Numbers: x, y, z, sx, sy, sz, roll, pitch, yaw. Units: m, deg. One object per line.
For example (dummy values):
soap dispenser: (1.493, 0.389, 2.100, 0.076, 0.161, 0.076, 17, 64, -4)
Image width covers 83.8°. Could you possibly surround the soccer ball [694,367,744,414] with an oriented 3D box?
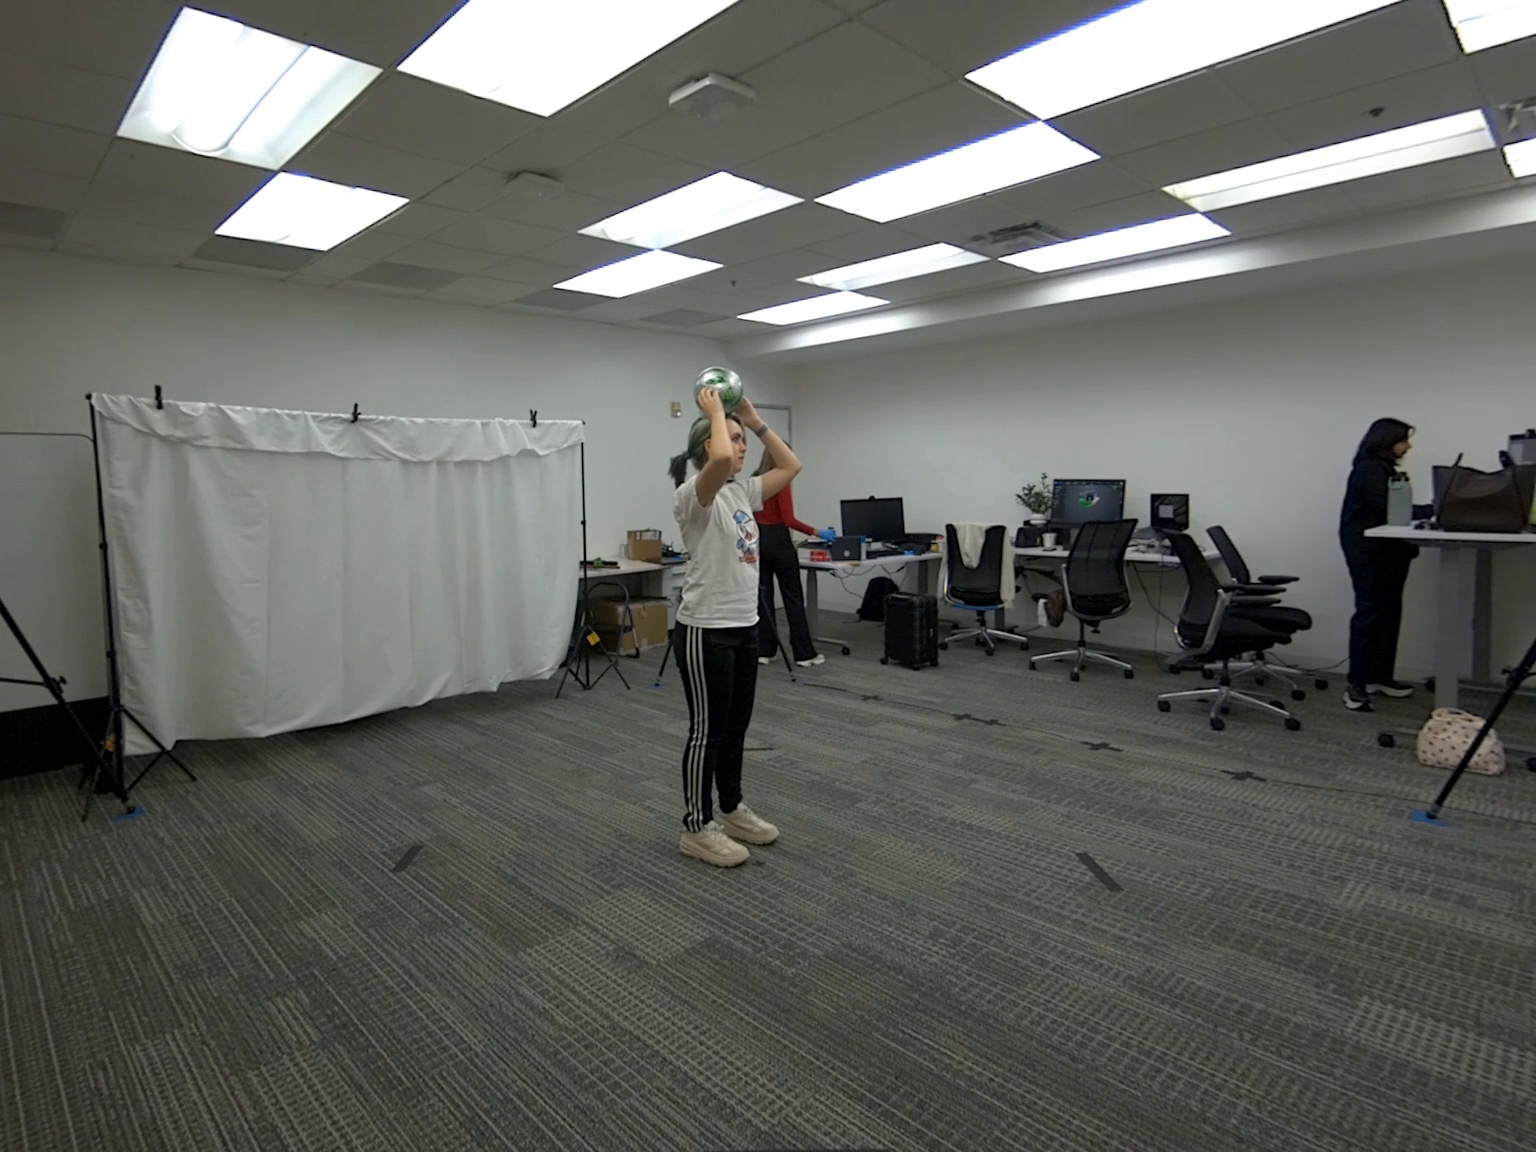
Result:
soccer ball: (-0.185, -0.686, 3.189, 0.187, 0.187, 0.188, -1, 5, -2)
